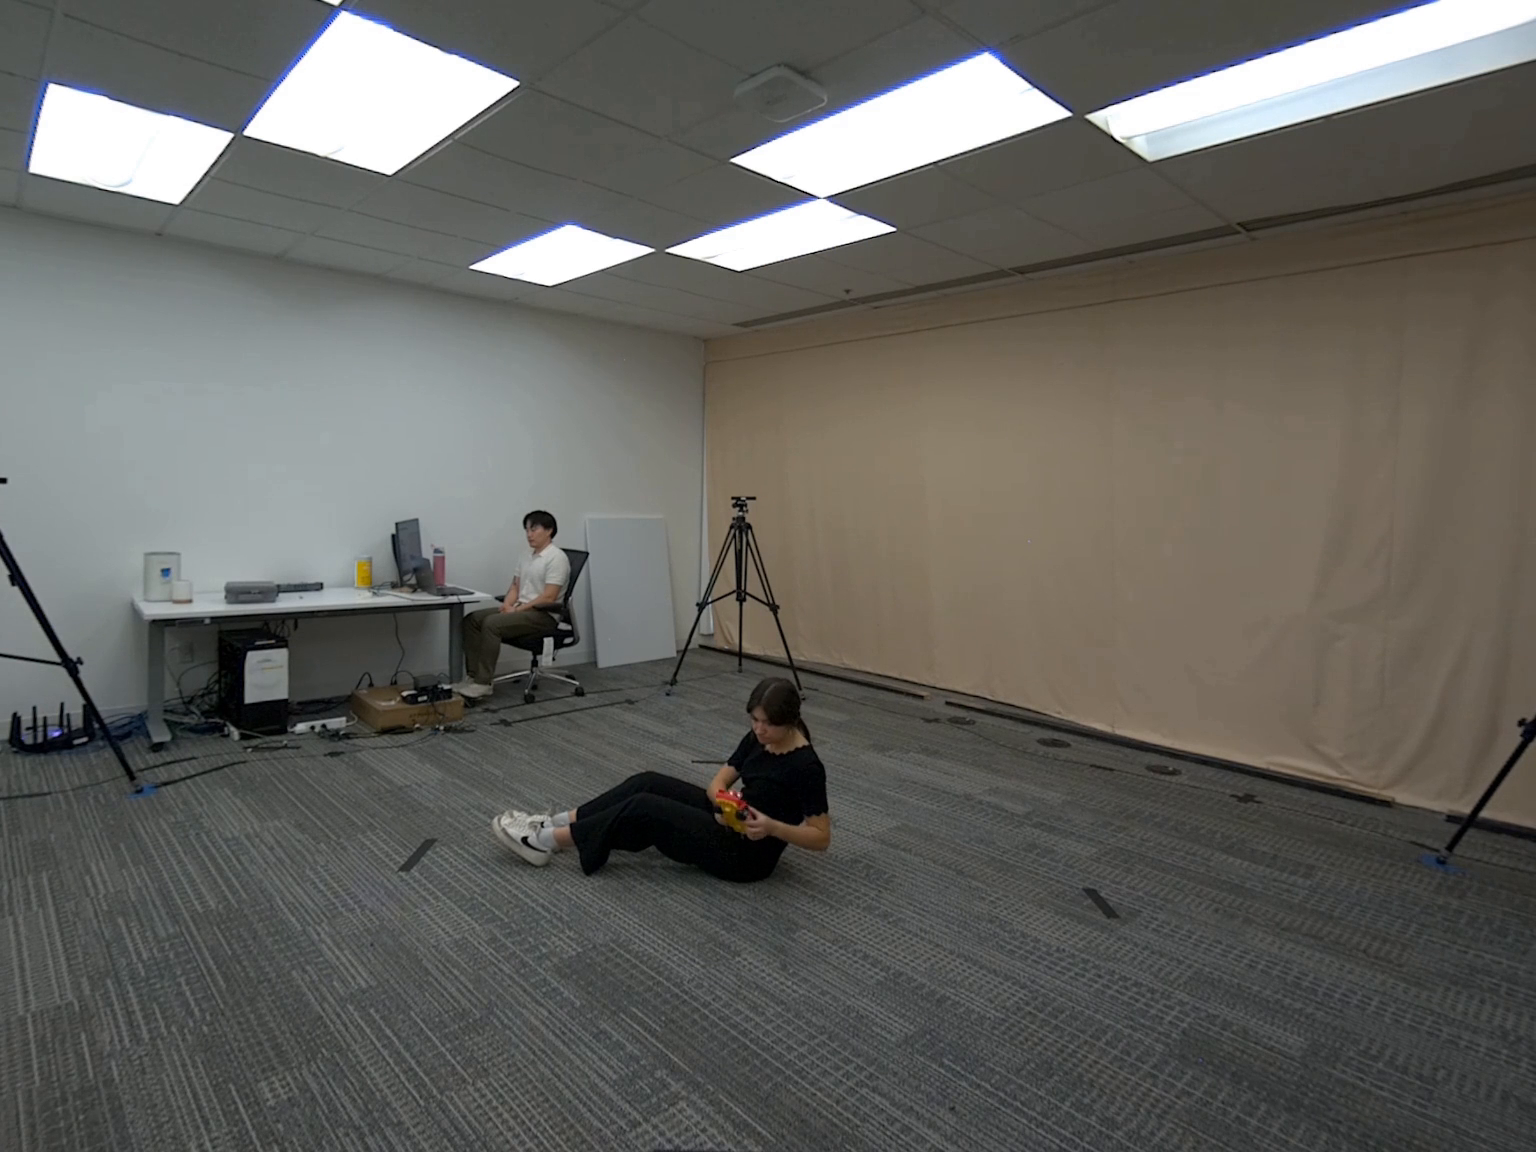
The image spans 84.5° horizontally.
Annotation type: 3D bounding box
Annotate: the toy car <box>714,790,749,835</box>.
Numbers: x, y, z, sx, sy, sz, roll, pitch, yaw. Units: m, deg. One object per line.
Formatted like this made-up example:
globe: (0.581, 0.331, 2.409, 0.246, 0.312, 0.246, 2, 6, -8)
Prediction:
toy car: (-0.124, 0.820, 2.898, 0.133, 0.248, 0.083, 7, 38, 29)
